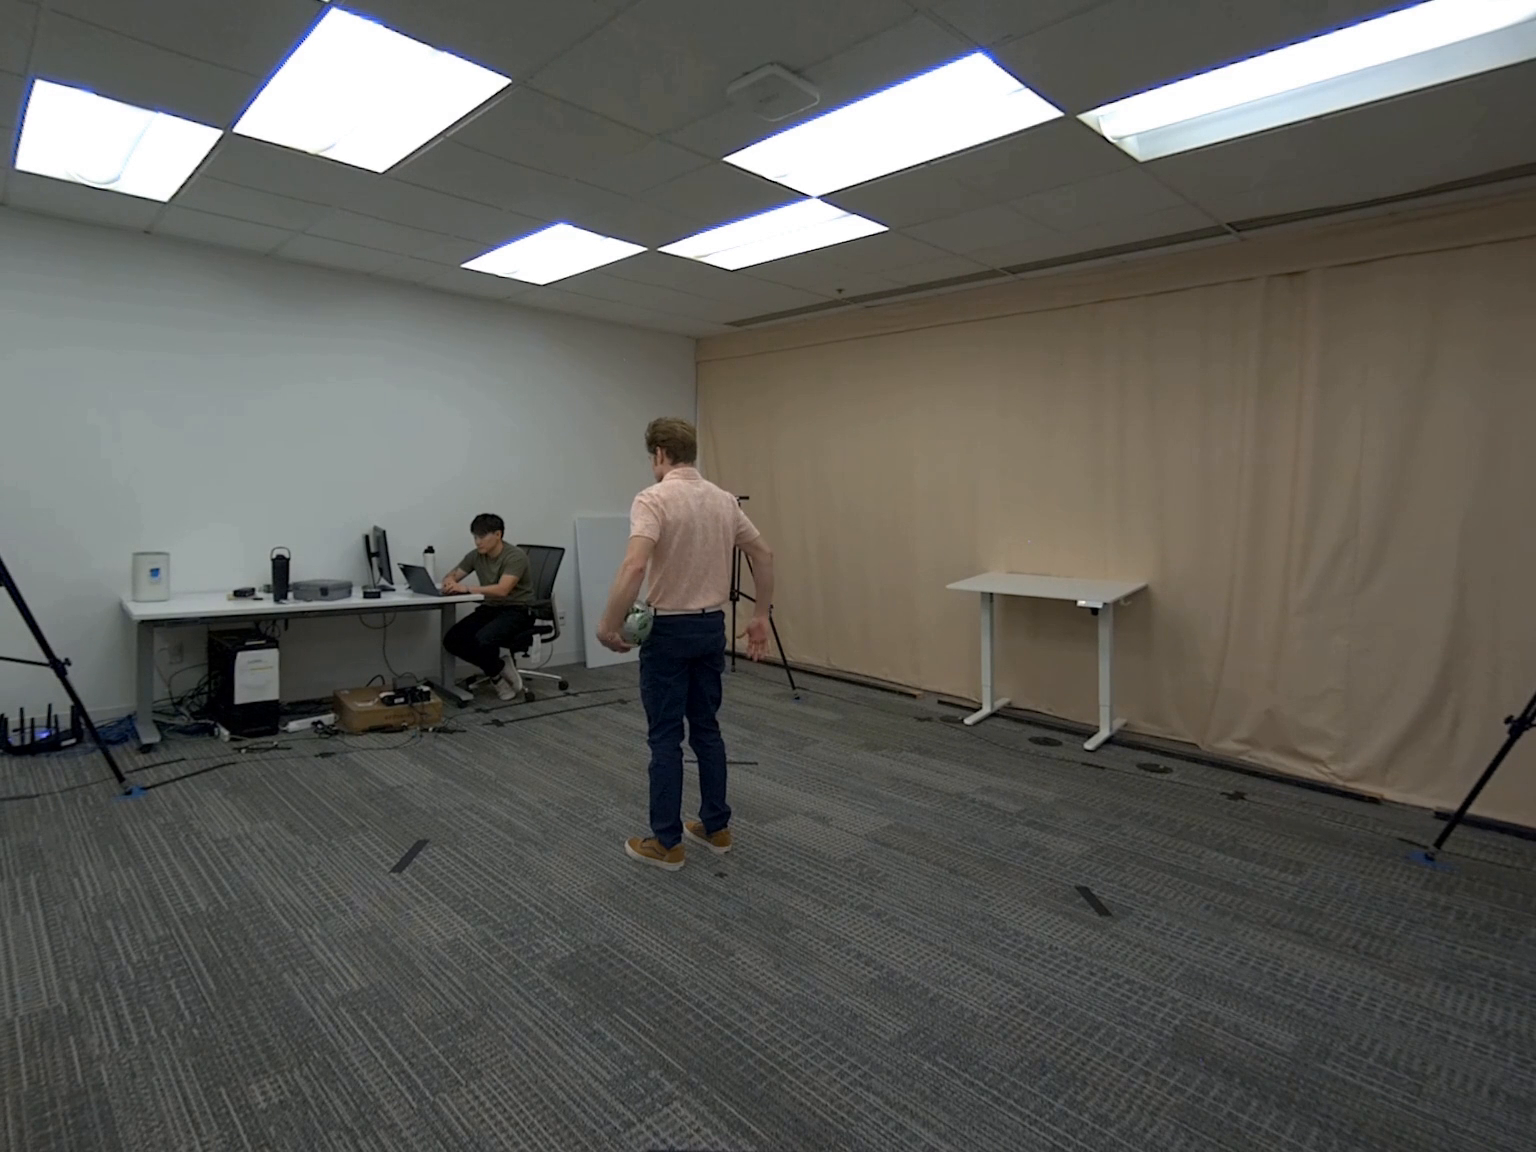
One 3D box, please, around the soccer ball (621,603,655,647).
[{"bbox_3d":[-0.515,0.173,3.056,0.187,0.187,0.188,1,4,-1],"label":"soccer ball"}]
